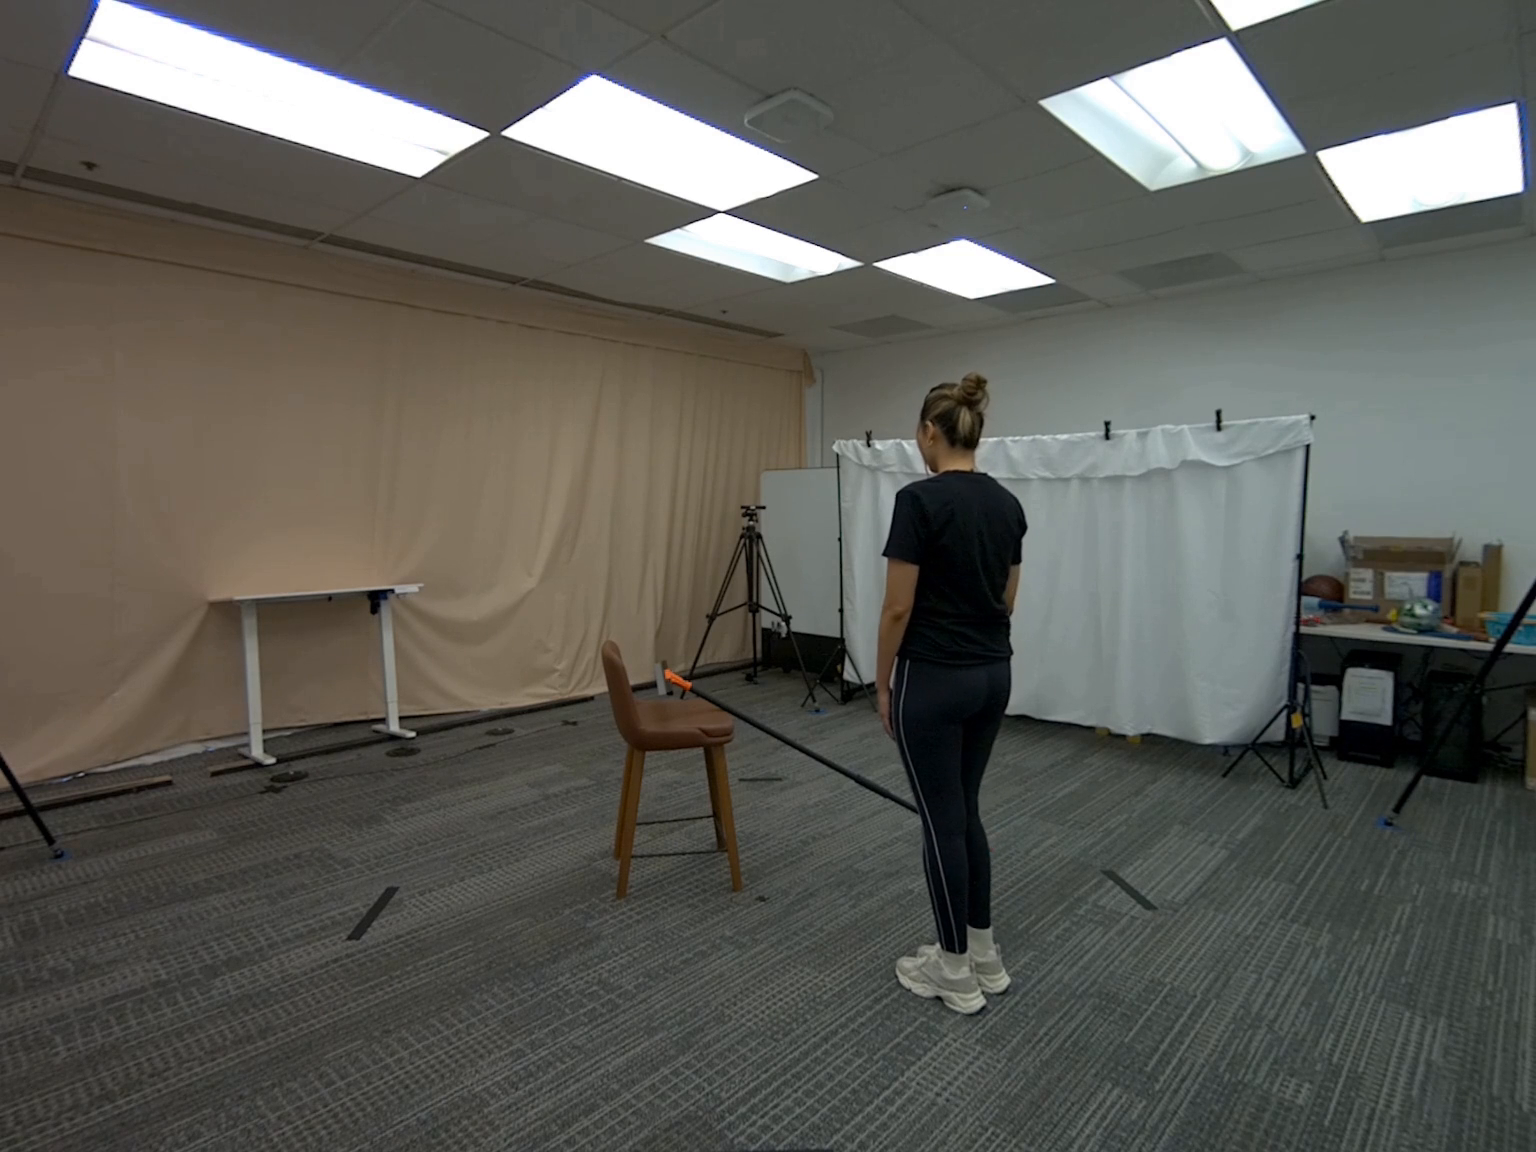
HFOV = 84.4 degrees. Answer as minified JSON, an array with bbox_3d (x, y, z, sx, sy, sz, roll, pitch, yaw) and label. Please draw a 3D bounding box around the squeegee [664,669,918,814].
[{"bbox_3d":[0.241,0.724,3.270,1.517,0.053,0.443,29,20,-11],"label":"squeegee"}]
